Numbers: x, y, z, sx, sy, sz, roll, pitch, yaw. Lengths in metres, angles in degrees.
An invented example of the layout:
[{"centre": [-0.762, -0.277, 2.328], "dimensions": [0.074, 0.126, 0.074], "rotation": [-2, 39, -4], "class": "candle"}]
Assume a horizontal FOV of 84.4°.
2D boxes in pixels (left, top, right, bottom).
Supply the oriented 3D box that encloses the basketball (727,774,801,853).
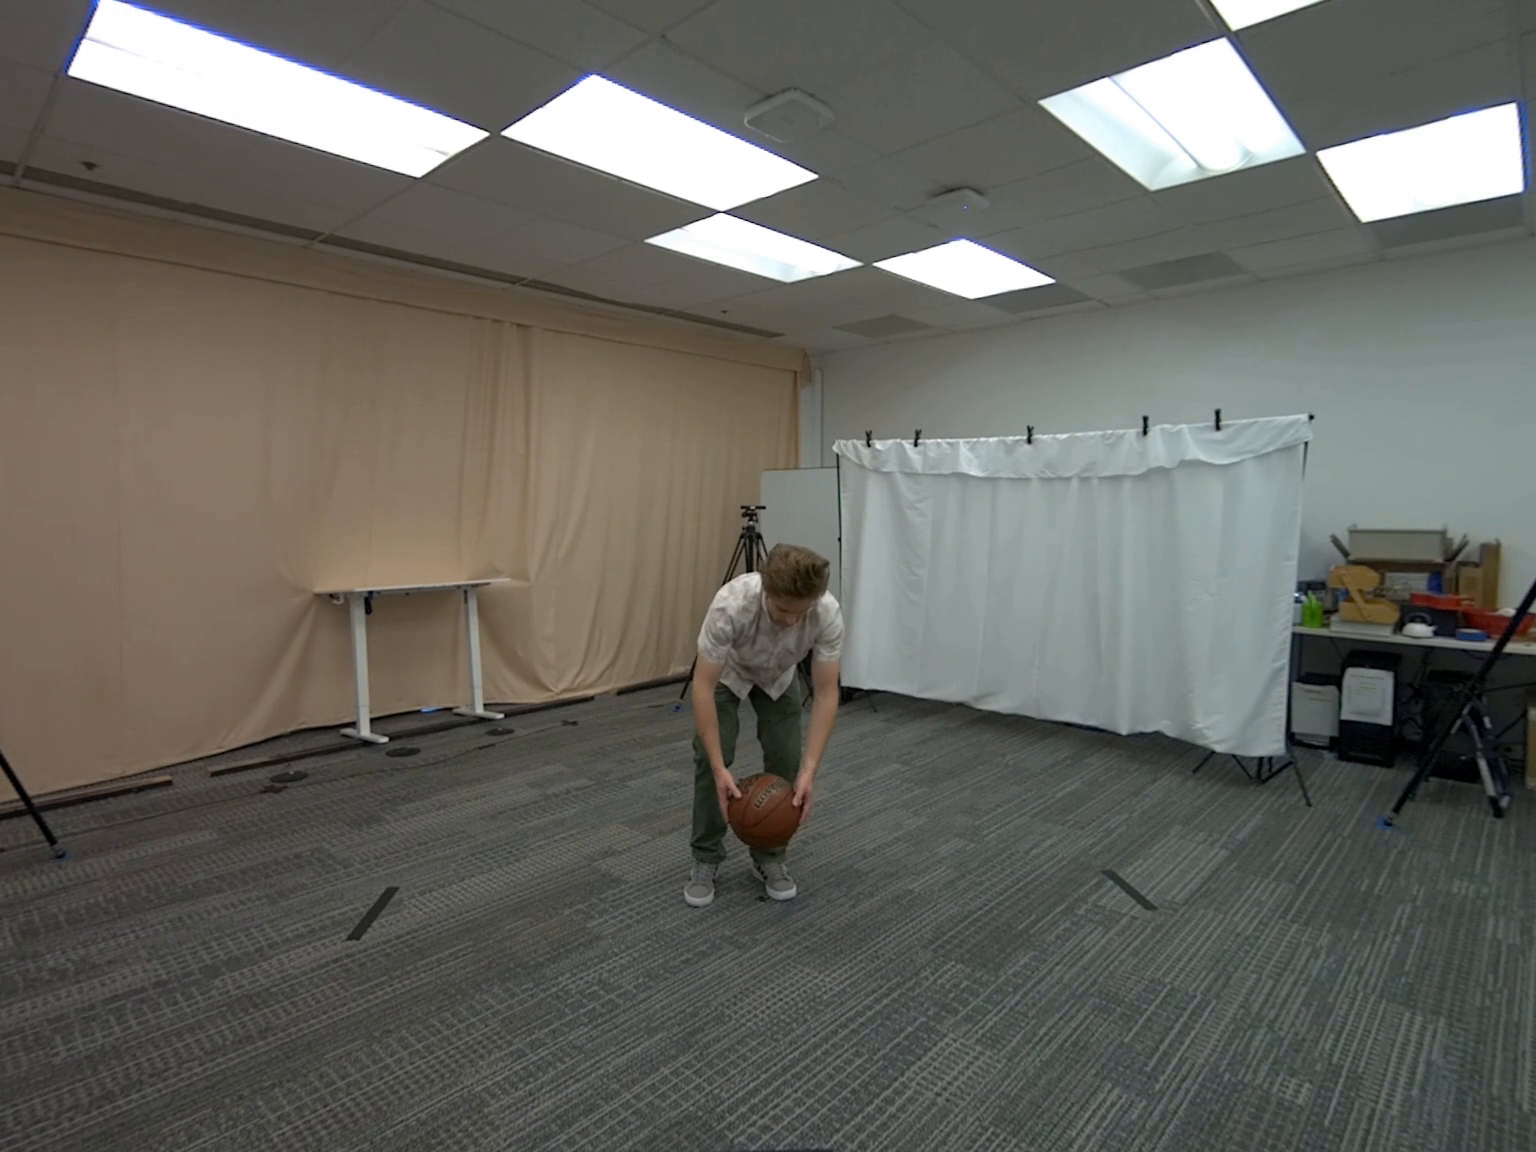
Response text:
[{"centre": [-0.013, 0.754, 2.734], "dimensions": [0.236, 0.235, 0.237], "rotation": [0, 4, -2], "class": "basketball"}]
